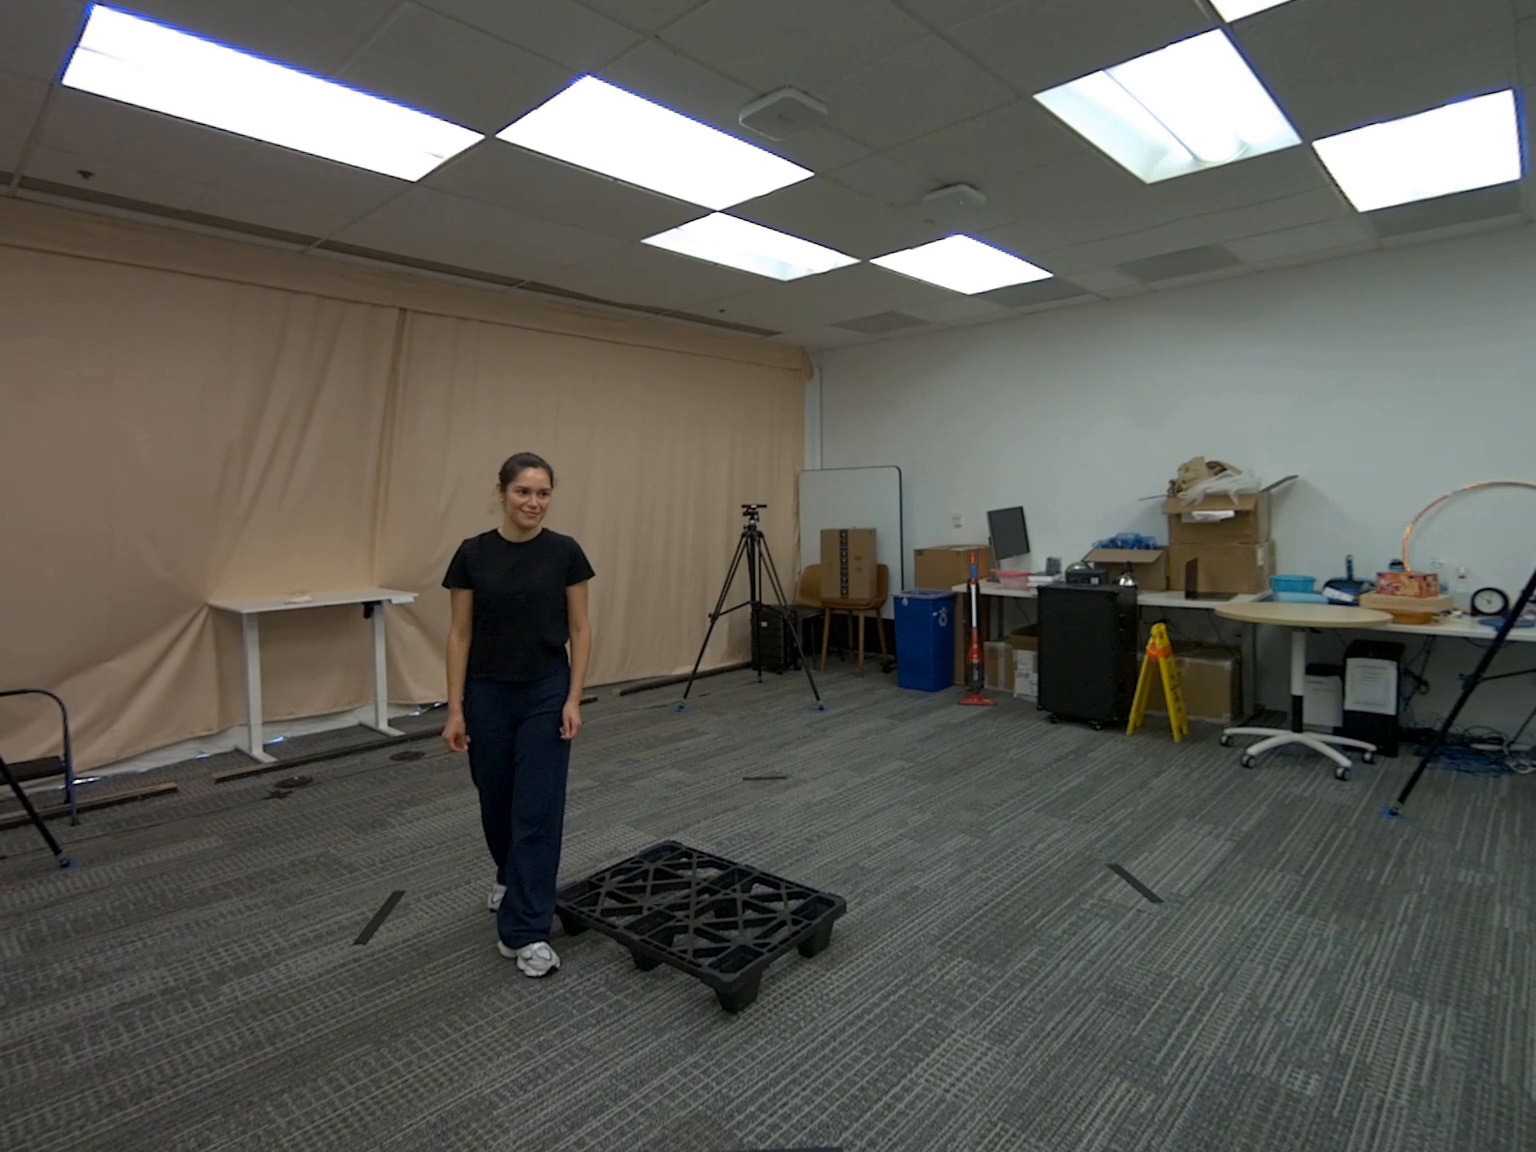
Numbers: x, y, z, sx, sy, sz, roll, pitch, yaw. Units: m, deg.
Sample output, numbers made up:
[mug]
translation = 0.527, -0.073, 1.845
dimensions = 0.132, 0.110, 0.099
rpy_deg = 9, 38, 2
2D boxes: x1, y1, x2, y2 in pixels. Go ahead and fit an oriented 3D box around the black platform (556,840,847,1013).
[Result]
[black platform]
translation = -0.223, 1.102, 2.705
dimensions = 0.832, 0.143, 0.587
rpy_deg = 3, 7, 39
